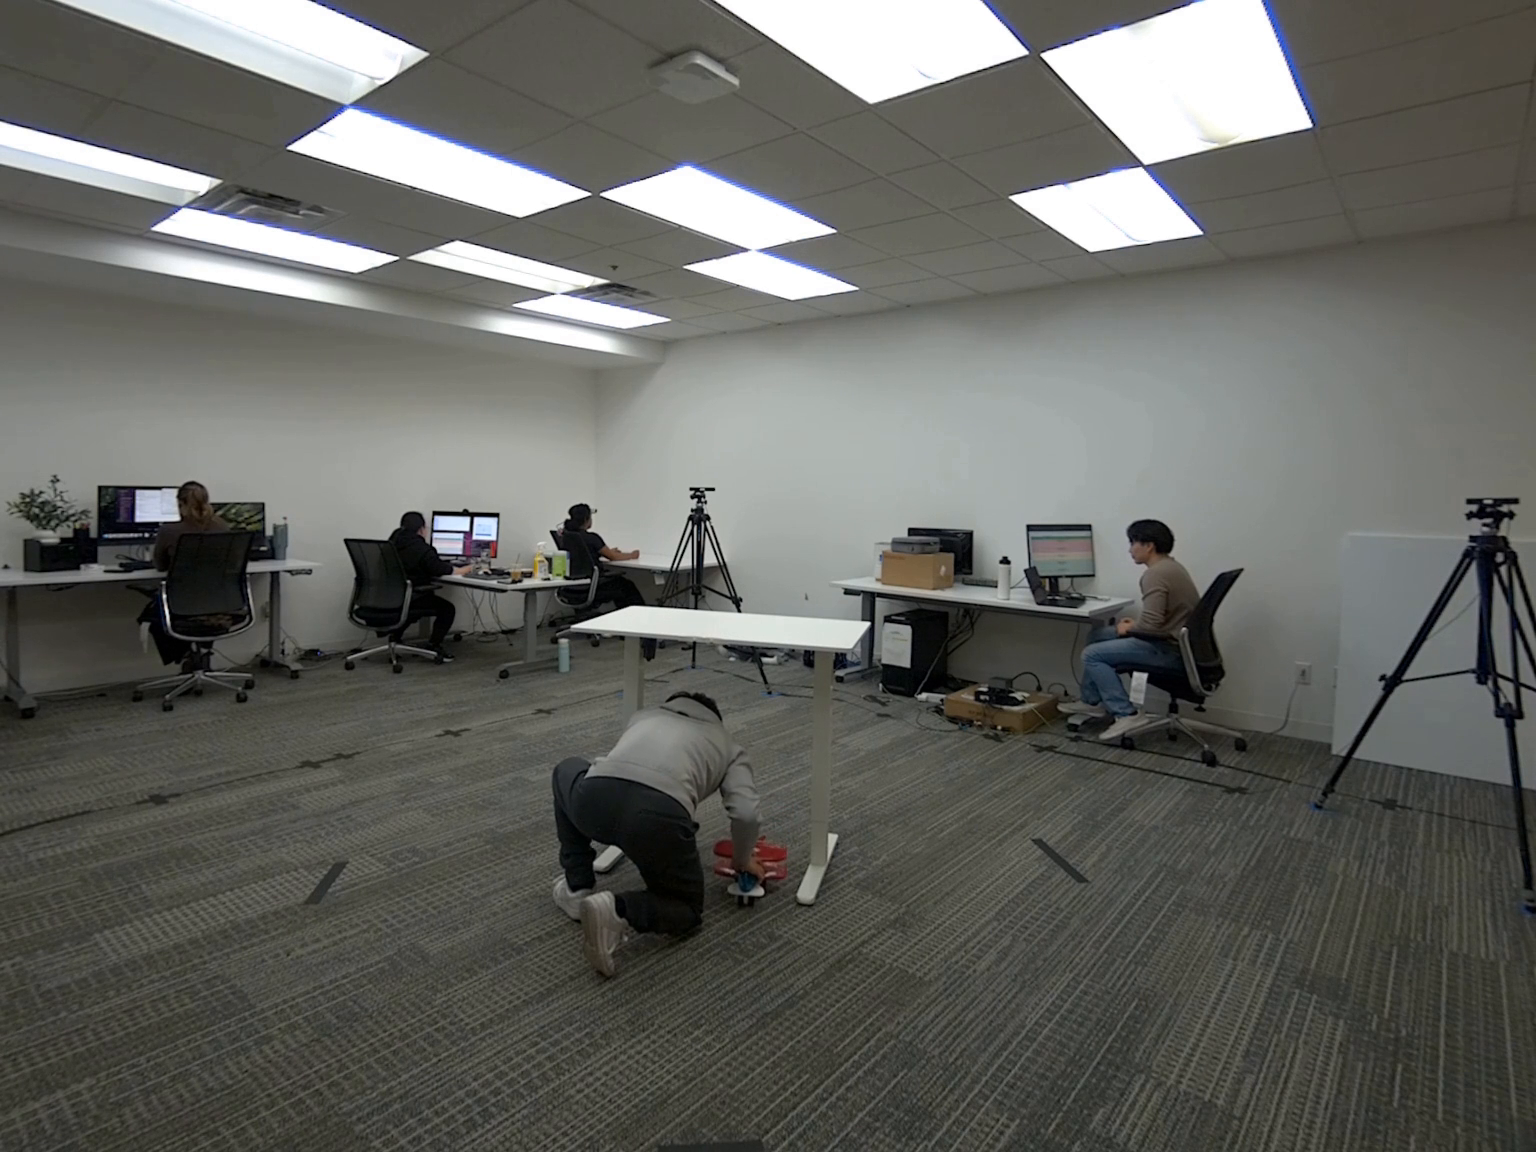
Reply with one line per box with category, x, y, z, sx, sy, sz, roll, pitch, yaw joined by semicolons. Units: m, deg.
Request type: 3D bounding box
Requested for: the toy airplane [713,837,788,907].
toy airplane;-0.052;1.016;2.926;0.245;0.156;0.266;-2;6;-24
